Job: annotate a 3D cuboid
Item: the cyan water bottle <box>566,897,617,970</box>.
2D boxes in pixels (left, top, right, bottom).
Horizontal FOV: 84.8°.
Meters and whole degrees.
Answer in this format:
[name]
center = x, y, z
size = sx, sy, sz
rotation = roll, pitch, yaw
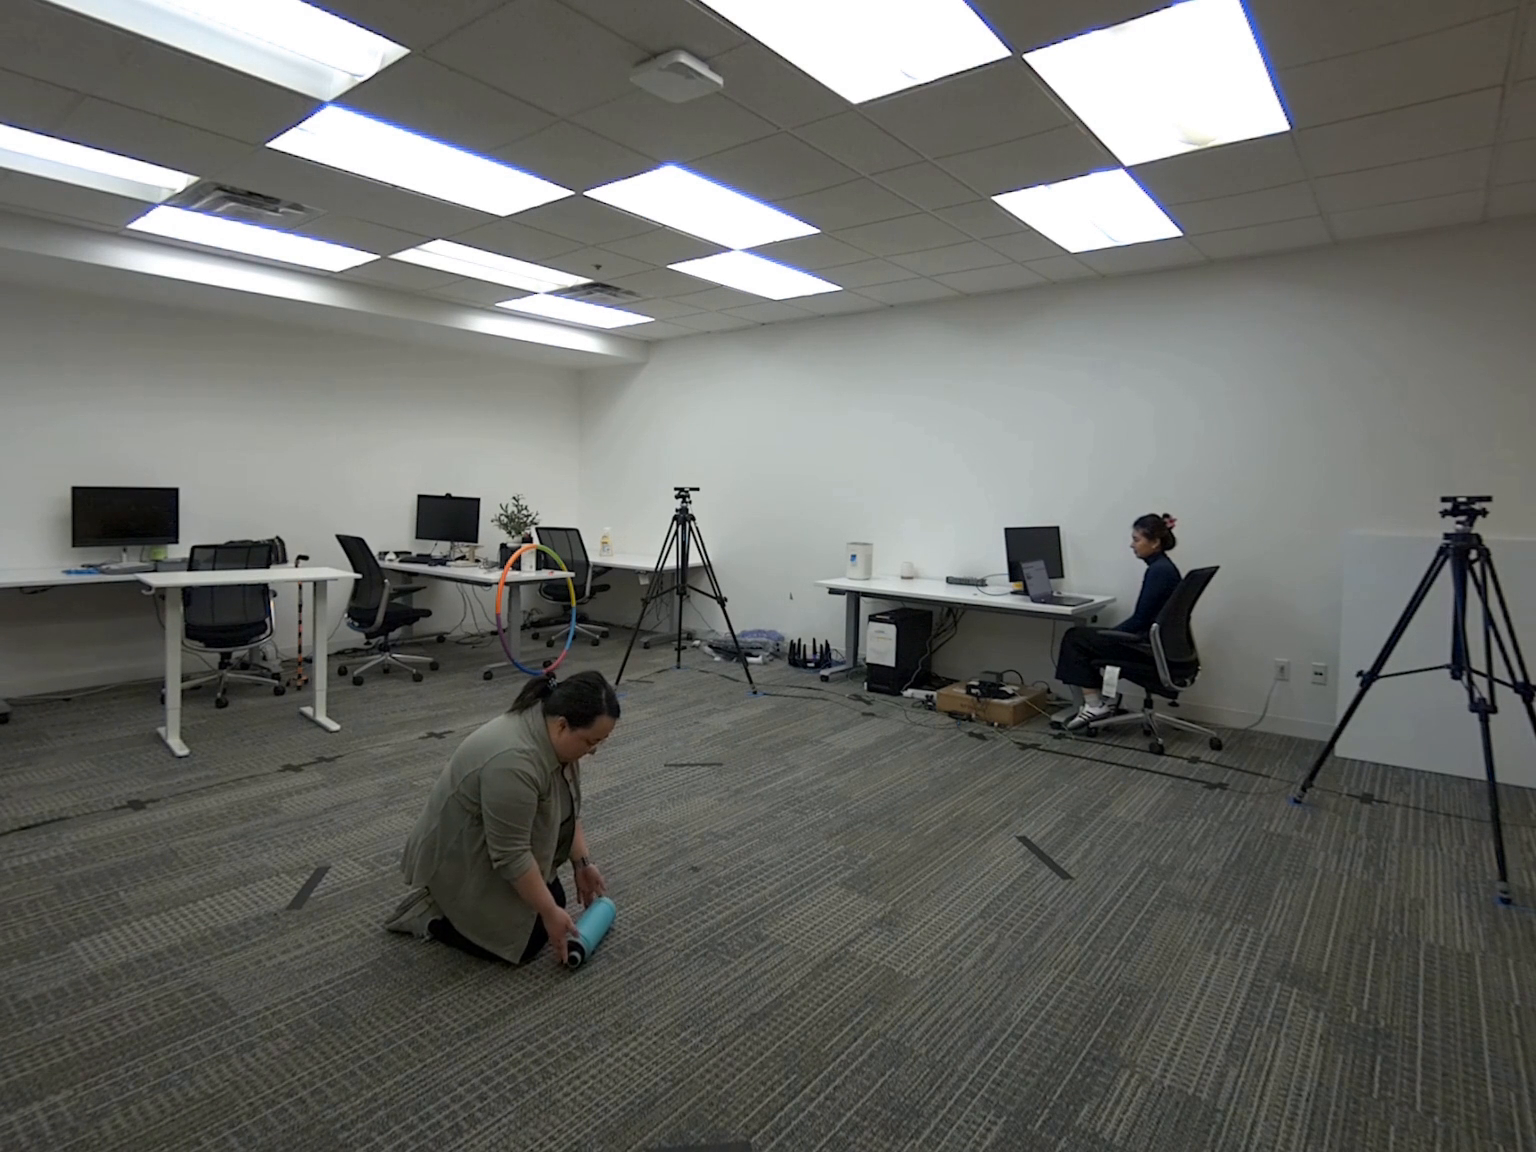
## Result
[cyan water bottle]
center = -0.552, 1.076, 2.549
size = 0.093, 0.092, 0.281
rotation = 2, 6, 9
